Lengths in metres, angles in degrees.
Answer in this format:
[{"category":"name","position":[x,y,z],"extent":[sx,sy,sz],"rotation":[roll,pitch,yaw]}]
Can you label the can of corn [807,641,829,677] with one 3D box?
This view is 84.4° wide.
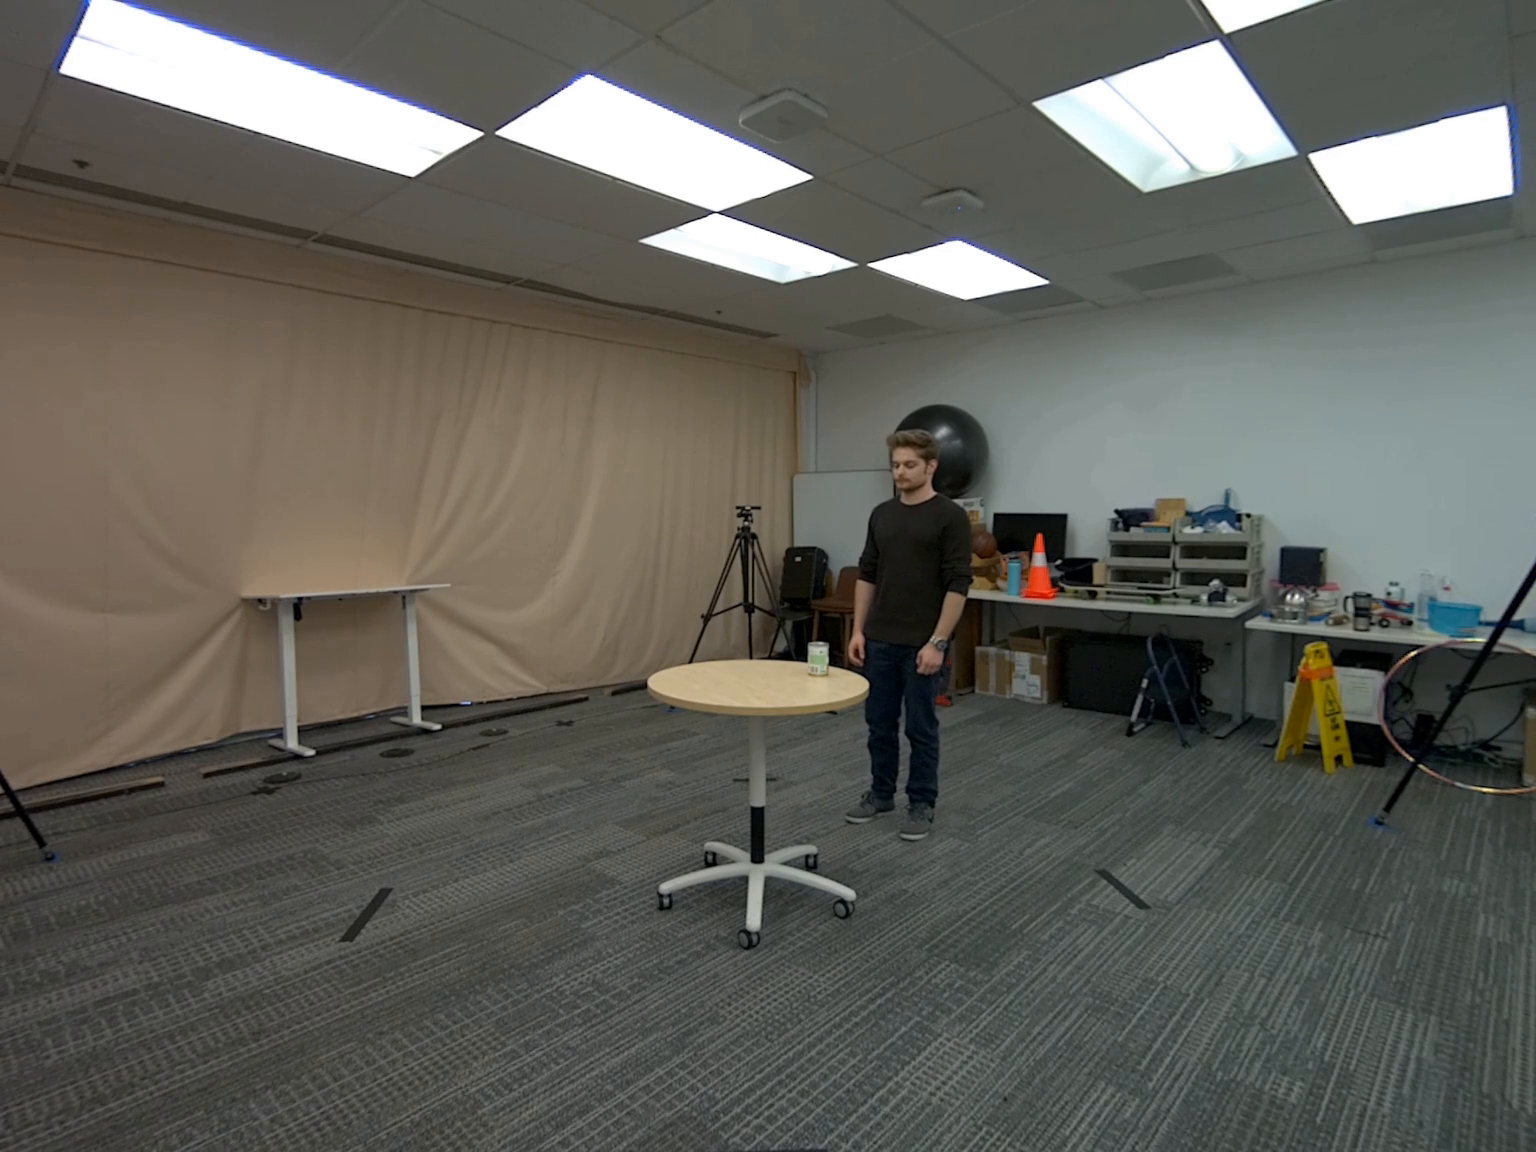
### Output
[{"category":"can of corn","position":[0.190,0.300,3.026],"extent":[0.074,0.111,0.074],"rotation":[3,4,-2]}]
